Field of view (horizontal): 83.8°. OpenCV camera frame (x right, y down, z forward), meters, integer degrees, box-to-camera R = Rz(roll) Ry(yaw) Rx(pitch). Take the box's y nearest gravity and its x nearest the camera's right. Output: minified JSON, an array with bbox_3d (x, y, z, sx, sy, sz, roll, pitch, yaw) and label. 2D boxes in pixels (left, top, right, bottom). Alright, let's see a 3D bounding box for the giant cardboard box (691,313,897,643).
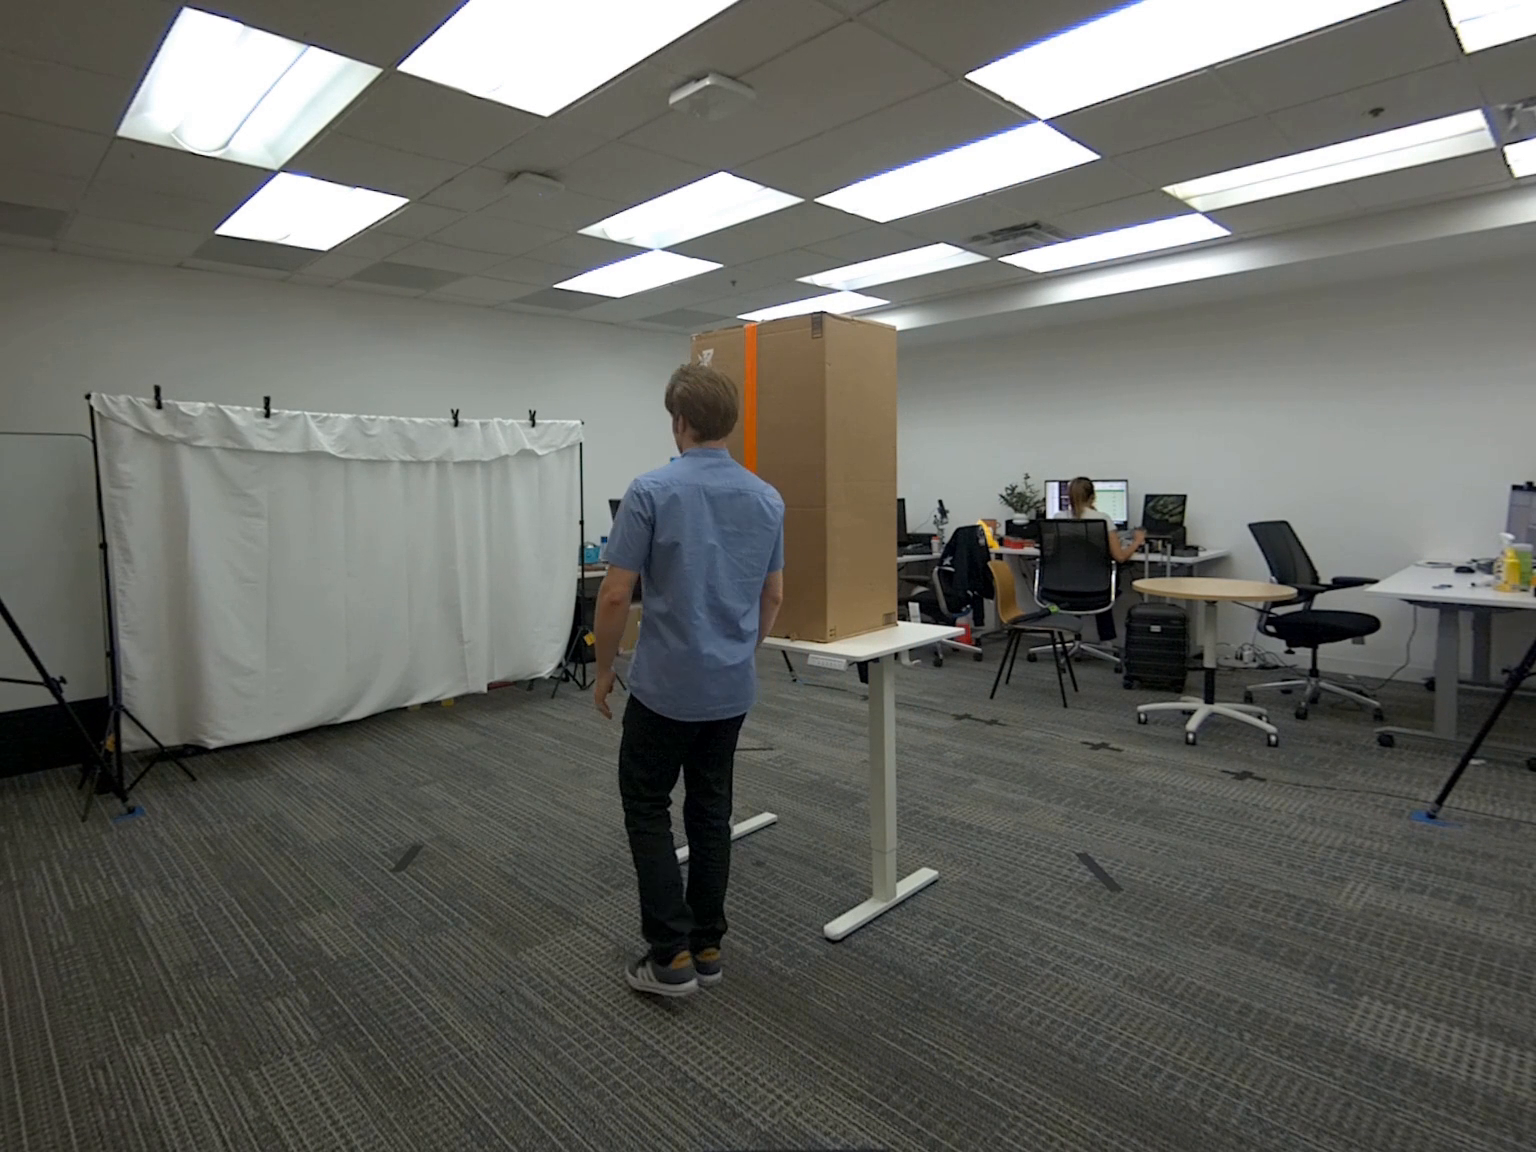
[{"bbox_3d":[0.089,-0.330,2.952,0.595,1.022,0.415,3,5,42],"label":"giant cardboard box"}]
